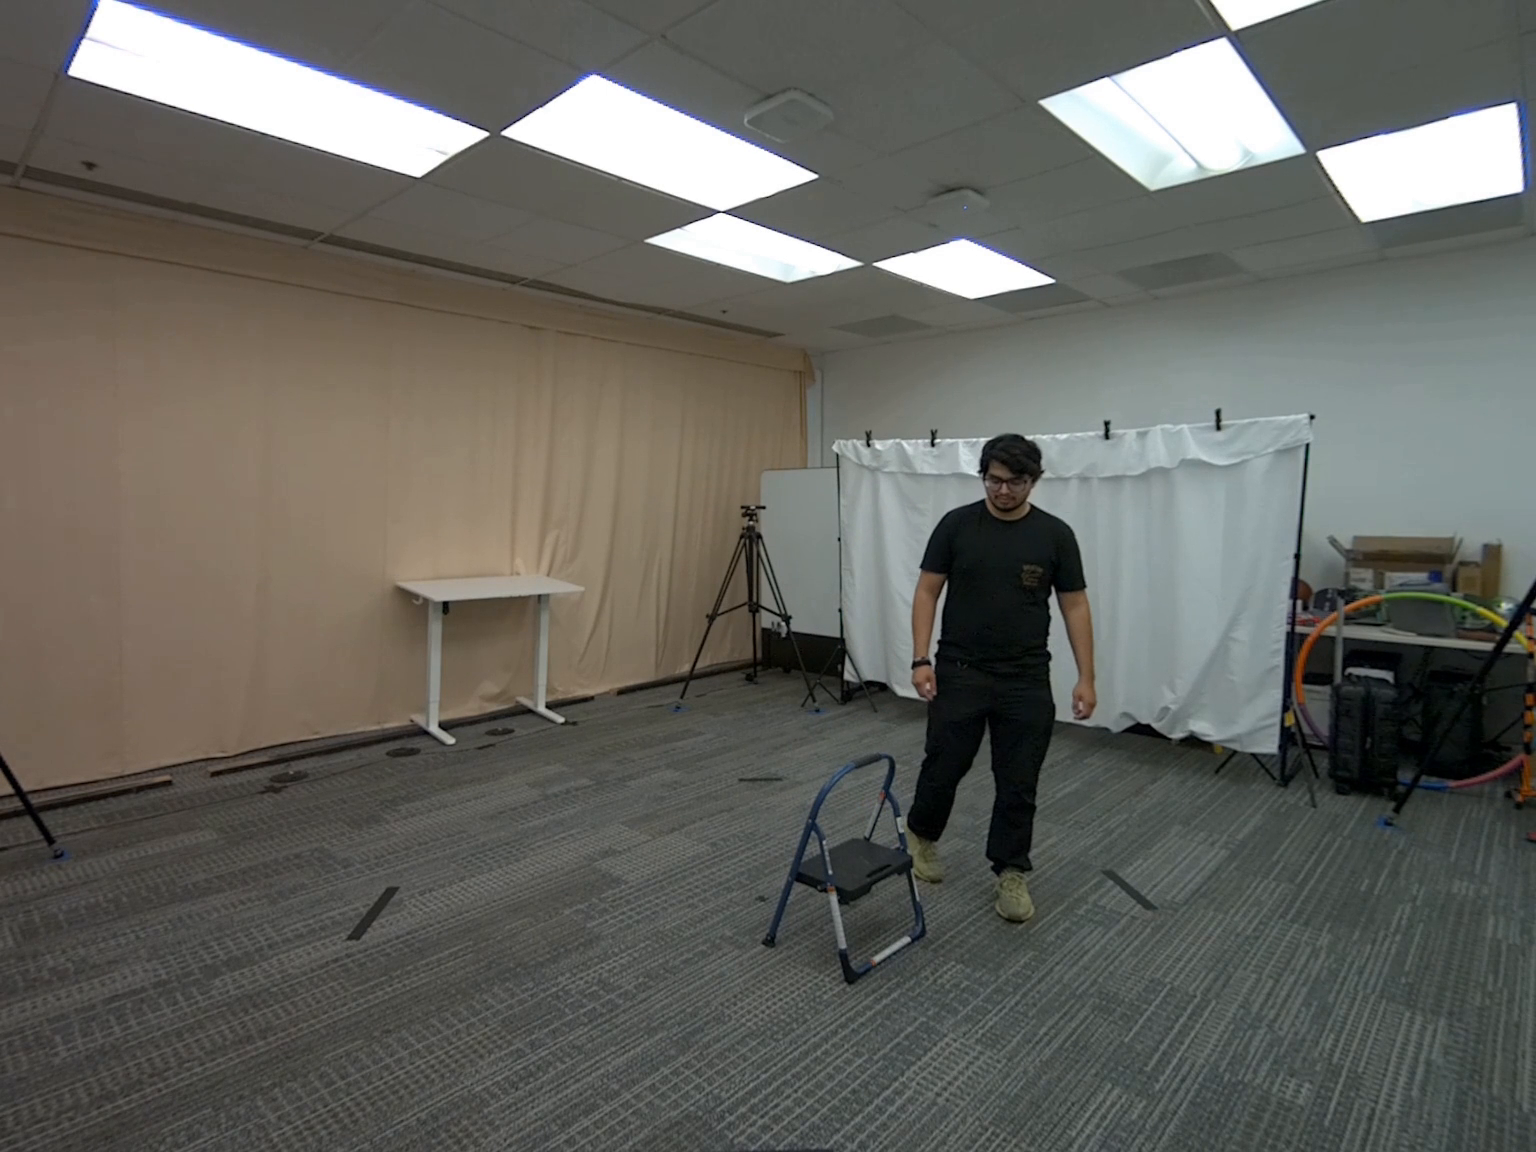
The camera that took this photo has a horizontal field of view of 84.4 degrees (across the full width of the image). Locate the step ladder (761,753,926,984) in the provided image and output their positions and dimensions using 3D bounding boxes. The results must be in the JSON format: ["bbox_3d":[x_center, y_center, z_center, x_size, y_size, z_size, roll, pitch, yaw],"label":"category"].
[{"bbox_3d":[0.252,0.863,2.687,0.361,0.605,0.417,3,4,43],"label":"step ladder"}]
